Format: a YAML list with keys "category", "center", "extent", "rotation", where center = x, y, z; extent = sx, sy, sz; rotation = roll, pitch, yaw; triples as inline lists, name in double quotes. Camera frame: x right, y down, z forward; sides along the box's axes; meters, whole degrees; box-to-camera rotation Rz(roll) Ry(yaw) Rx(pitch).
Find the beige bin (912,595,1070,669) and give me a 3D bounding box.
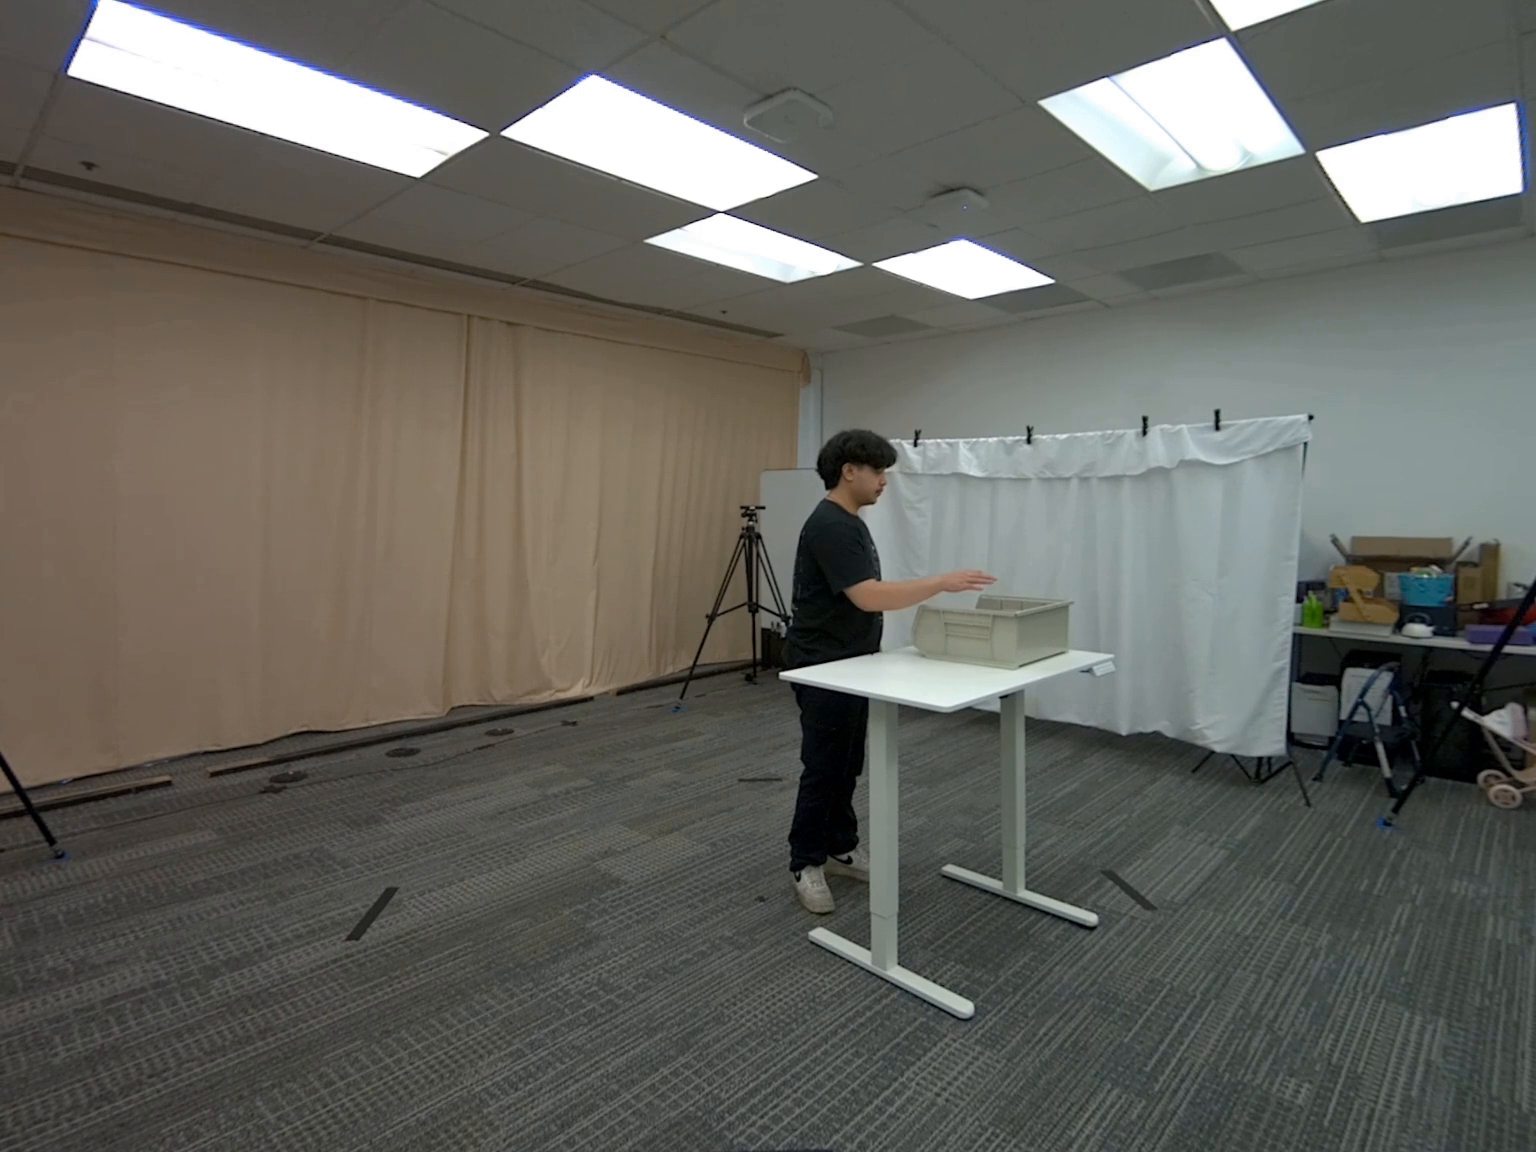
- category: "beige bin"
  center: [0.765, 0.182, 2.849]
  extent: [0.390, 0.188, 0.409]
  rotation: [4, 6, 43]
